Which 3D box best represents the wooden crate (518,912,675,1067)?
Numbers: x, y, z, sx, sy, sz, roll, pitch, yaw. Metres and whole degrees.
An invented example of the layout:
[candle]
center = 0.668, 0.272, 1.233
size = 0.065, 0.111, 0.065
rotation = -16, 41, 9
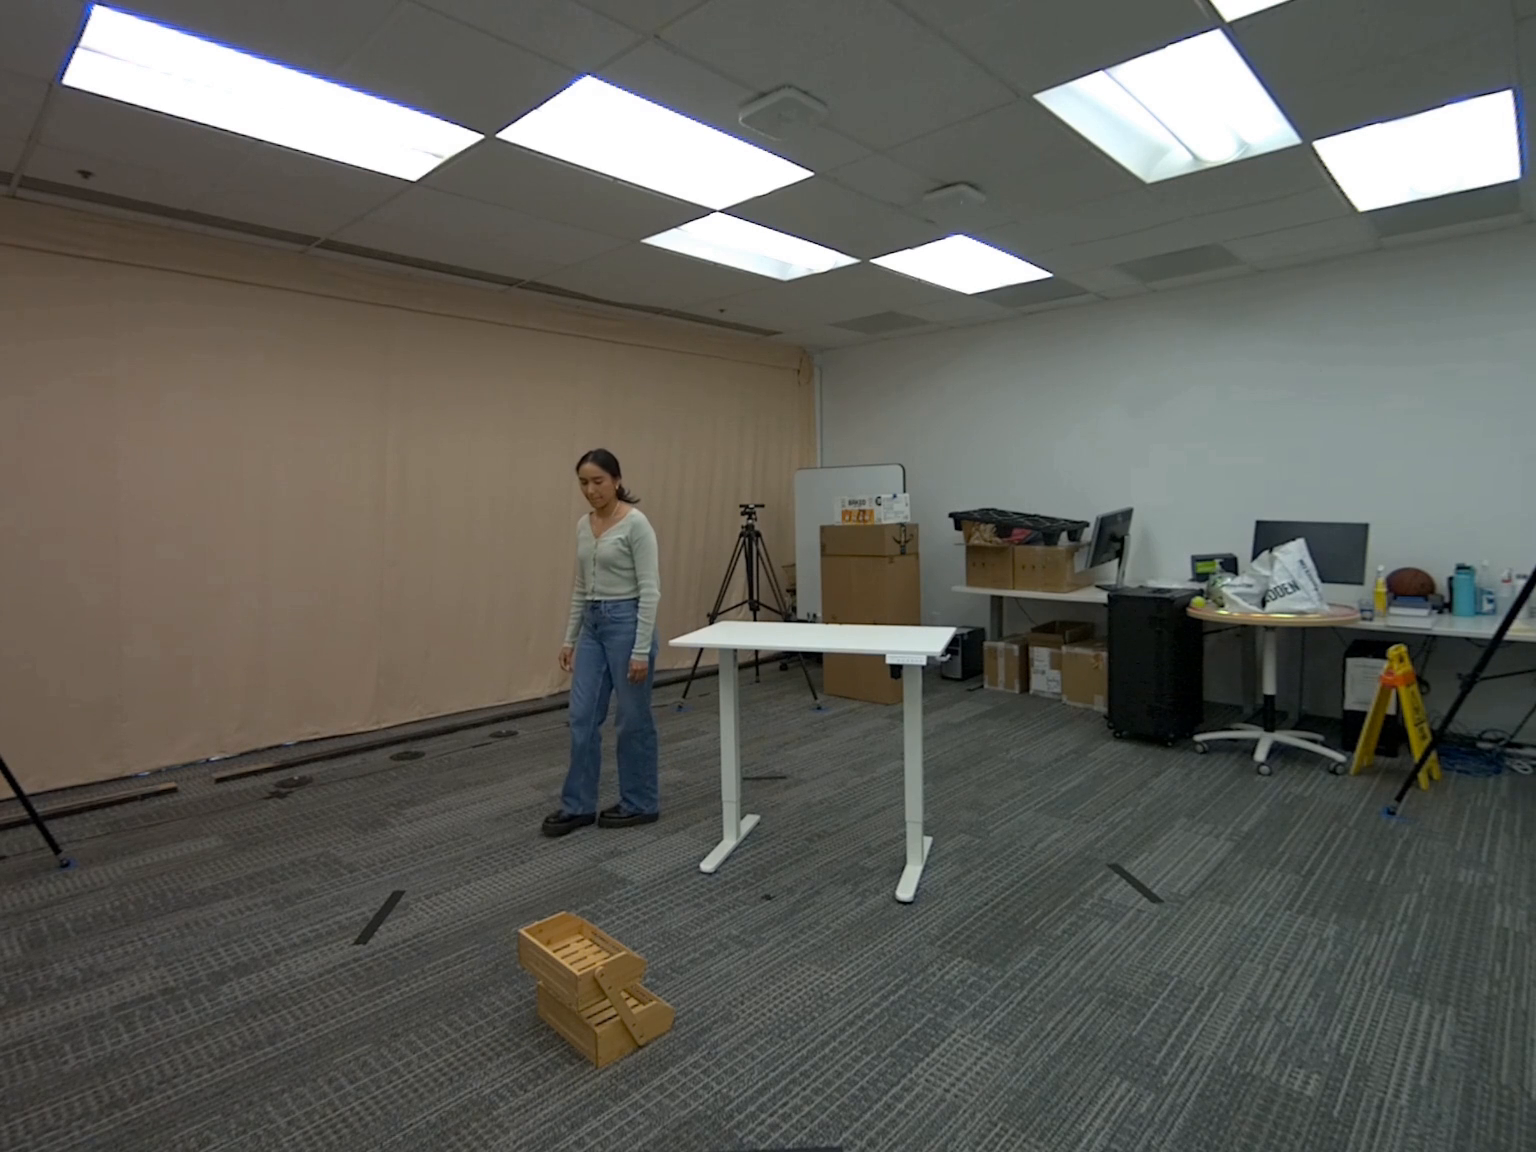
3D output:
[wooden crate]
center = -0.458, 1.077, 2.257
size = 0.293, 0.272, 0.335
rotation = -6, 6, -44
